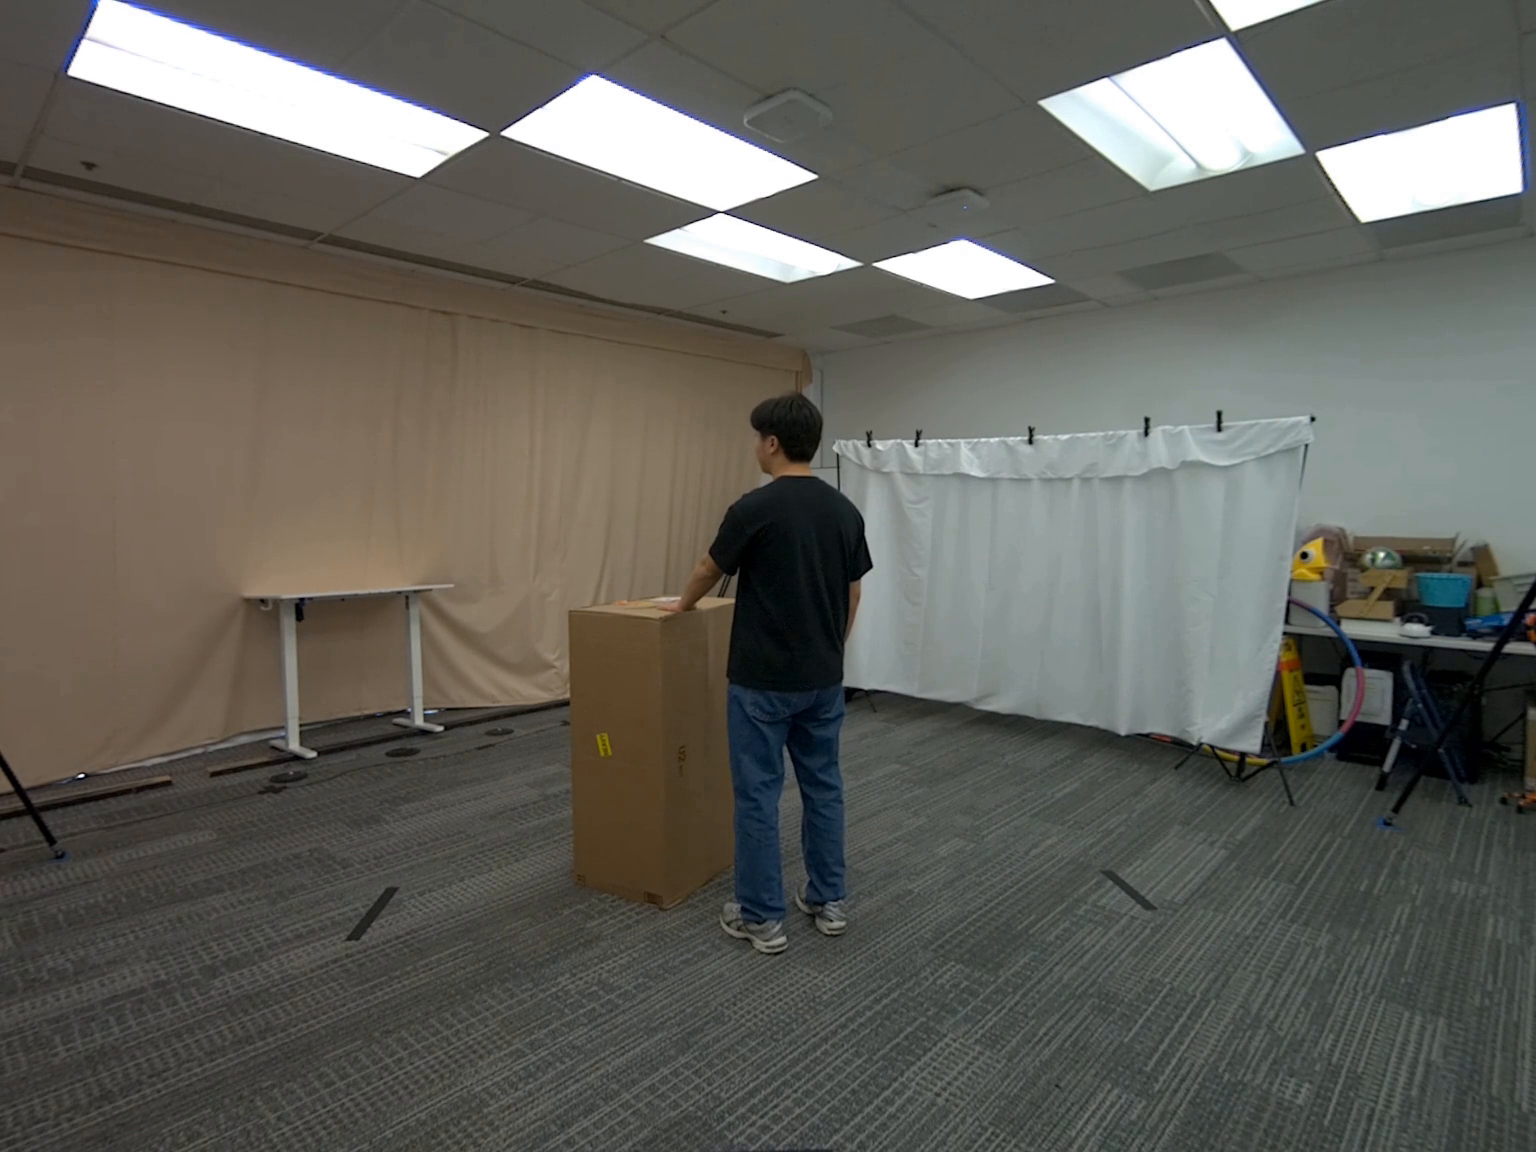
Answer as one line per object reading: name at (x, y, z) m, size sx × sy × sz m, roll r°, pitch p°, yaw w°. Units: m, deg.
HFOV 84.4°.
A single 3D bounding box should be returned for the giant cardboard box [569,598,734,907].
giant cardboard box at (-0.406, 0.614, 3.228) m, size 0.460 × 1.025 × 0.568 m, roll 1°, pitch 3°, yaw 32°
